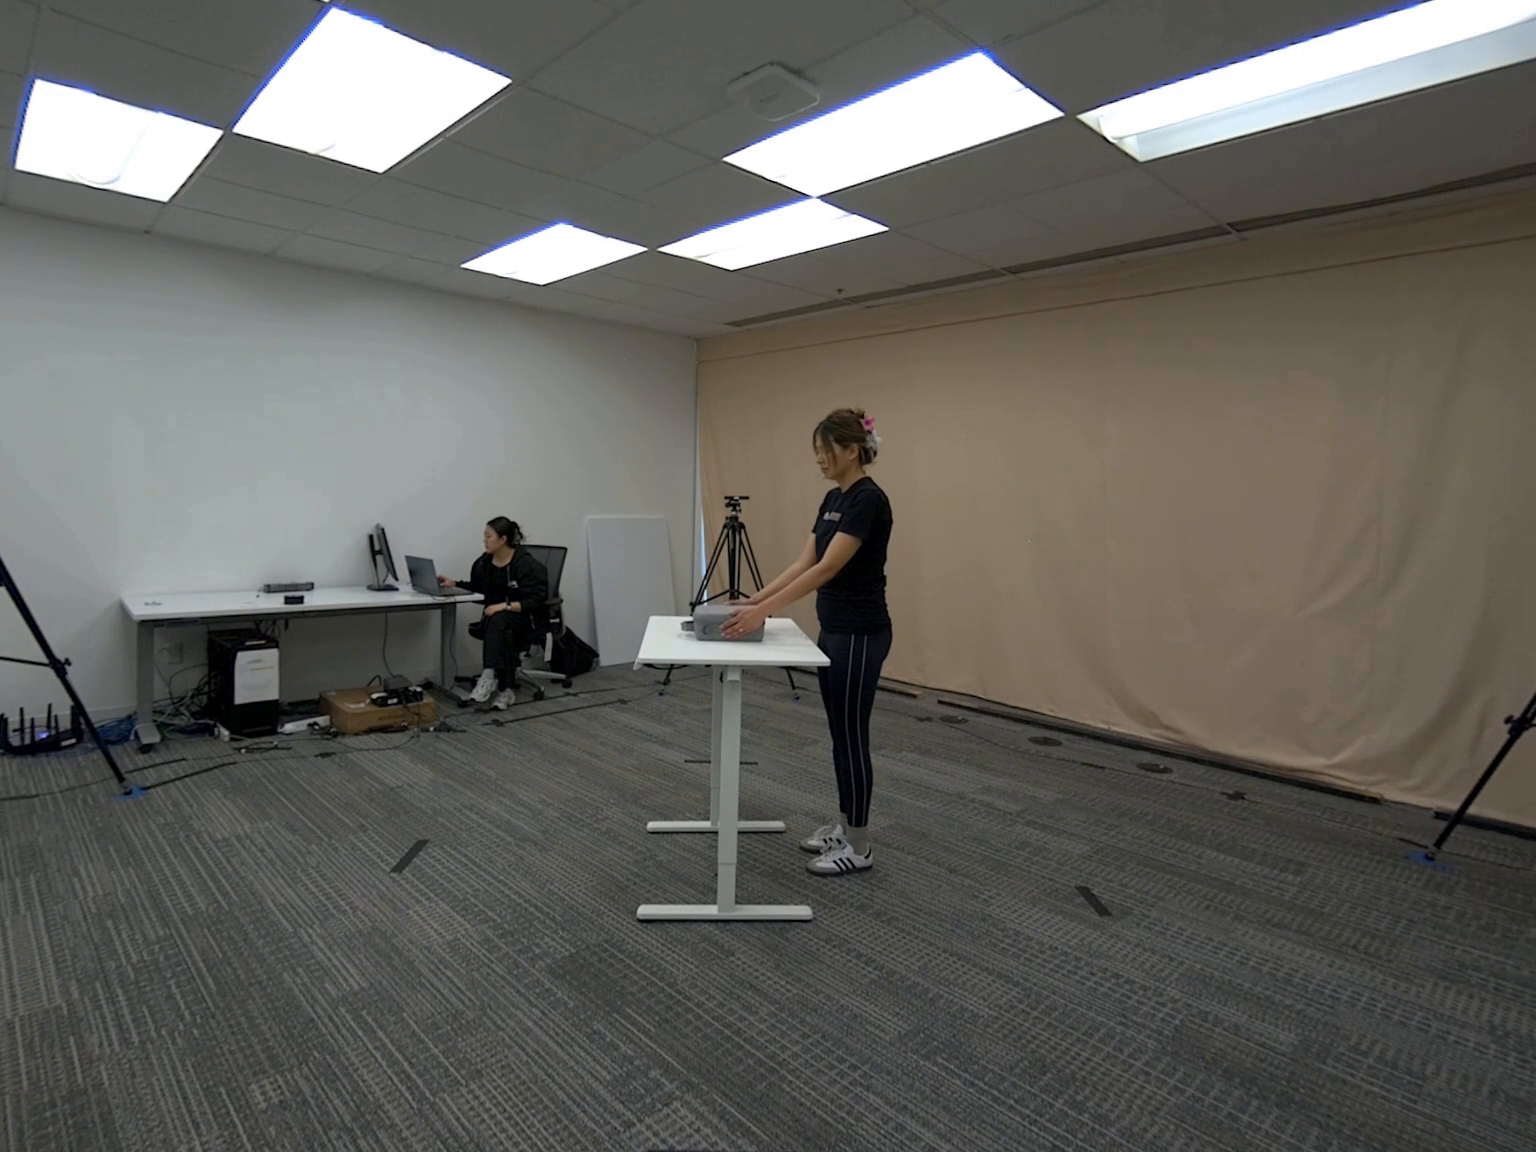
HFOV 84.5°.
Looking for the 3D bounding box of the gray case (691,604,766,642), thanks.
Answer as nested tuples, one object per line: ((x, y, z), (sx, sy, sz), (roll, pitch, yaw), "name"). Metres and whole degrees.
((-0.156, 0.172, 3.082), (0.260, 0.104, 0.258), (0, 6, -4), "gray case")
